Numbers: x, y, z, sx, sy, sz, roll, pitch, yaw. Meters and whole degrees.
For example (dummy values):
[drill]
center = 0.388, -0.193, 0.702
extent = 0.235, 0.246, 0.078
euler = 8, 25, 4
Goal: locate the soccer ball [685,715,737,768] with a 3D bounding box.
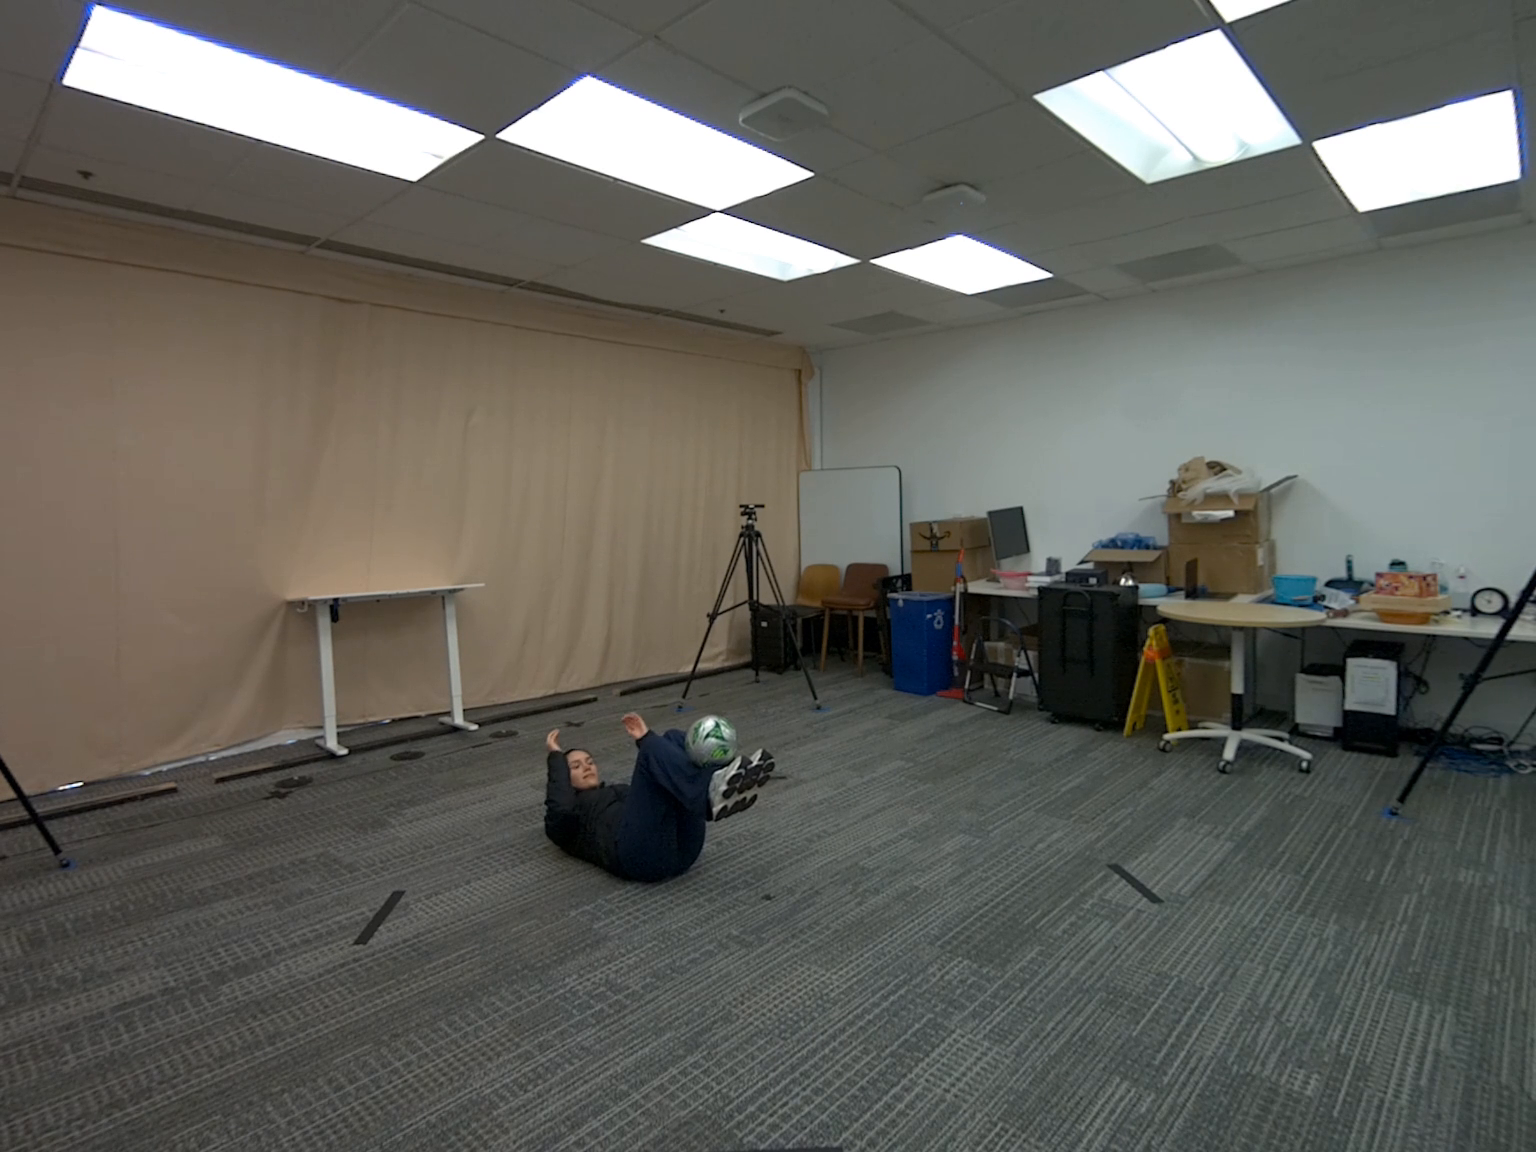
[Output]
[soccer ball]
center = -0.194, 0.581, 2.930
extent = 0.187, 0.187, 0.188
euler = 2, 5, -2
